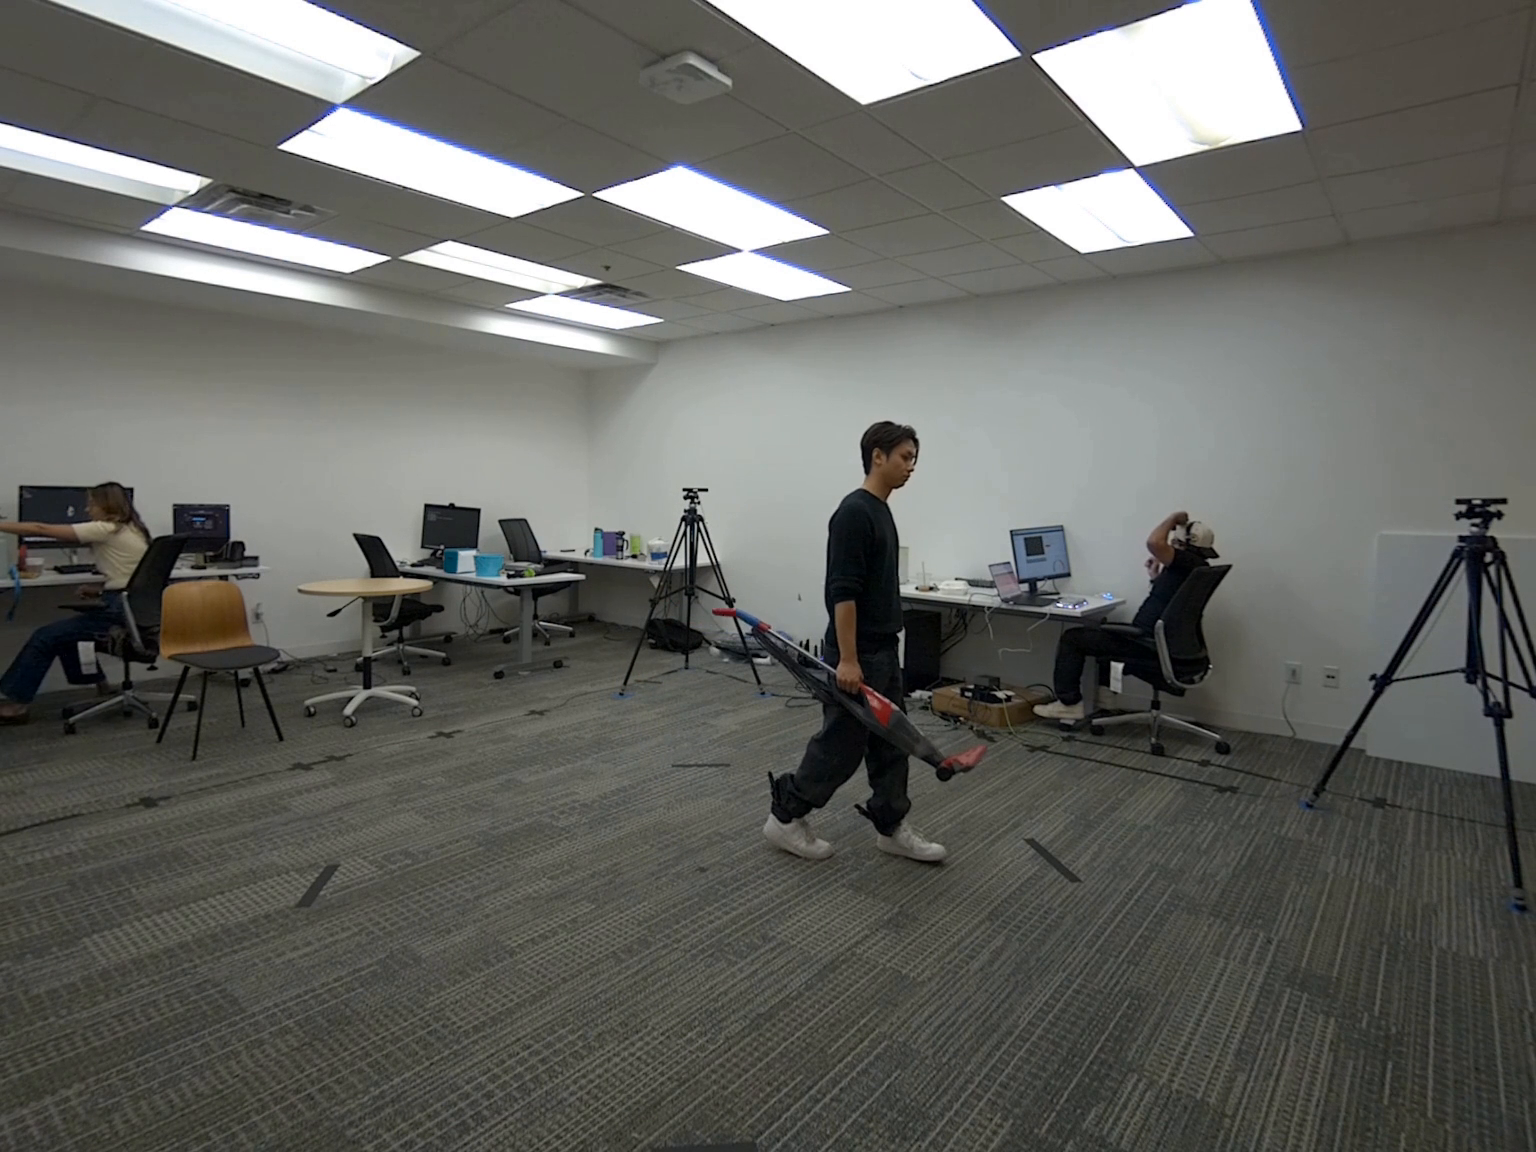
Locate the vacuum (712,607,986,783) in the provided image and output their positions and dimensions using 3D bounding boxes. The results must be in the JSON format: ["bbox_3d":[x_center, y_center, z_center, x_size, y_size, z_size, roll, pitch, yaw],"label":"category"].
[{"bbox_3d":[0.222,0.384,3.044,1.080,0.143,0.247,30,15,22],"label":"vacuum"}]
